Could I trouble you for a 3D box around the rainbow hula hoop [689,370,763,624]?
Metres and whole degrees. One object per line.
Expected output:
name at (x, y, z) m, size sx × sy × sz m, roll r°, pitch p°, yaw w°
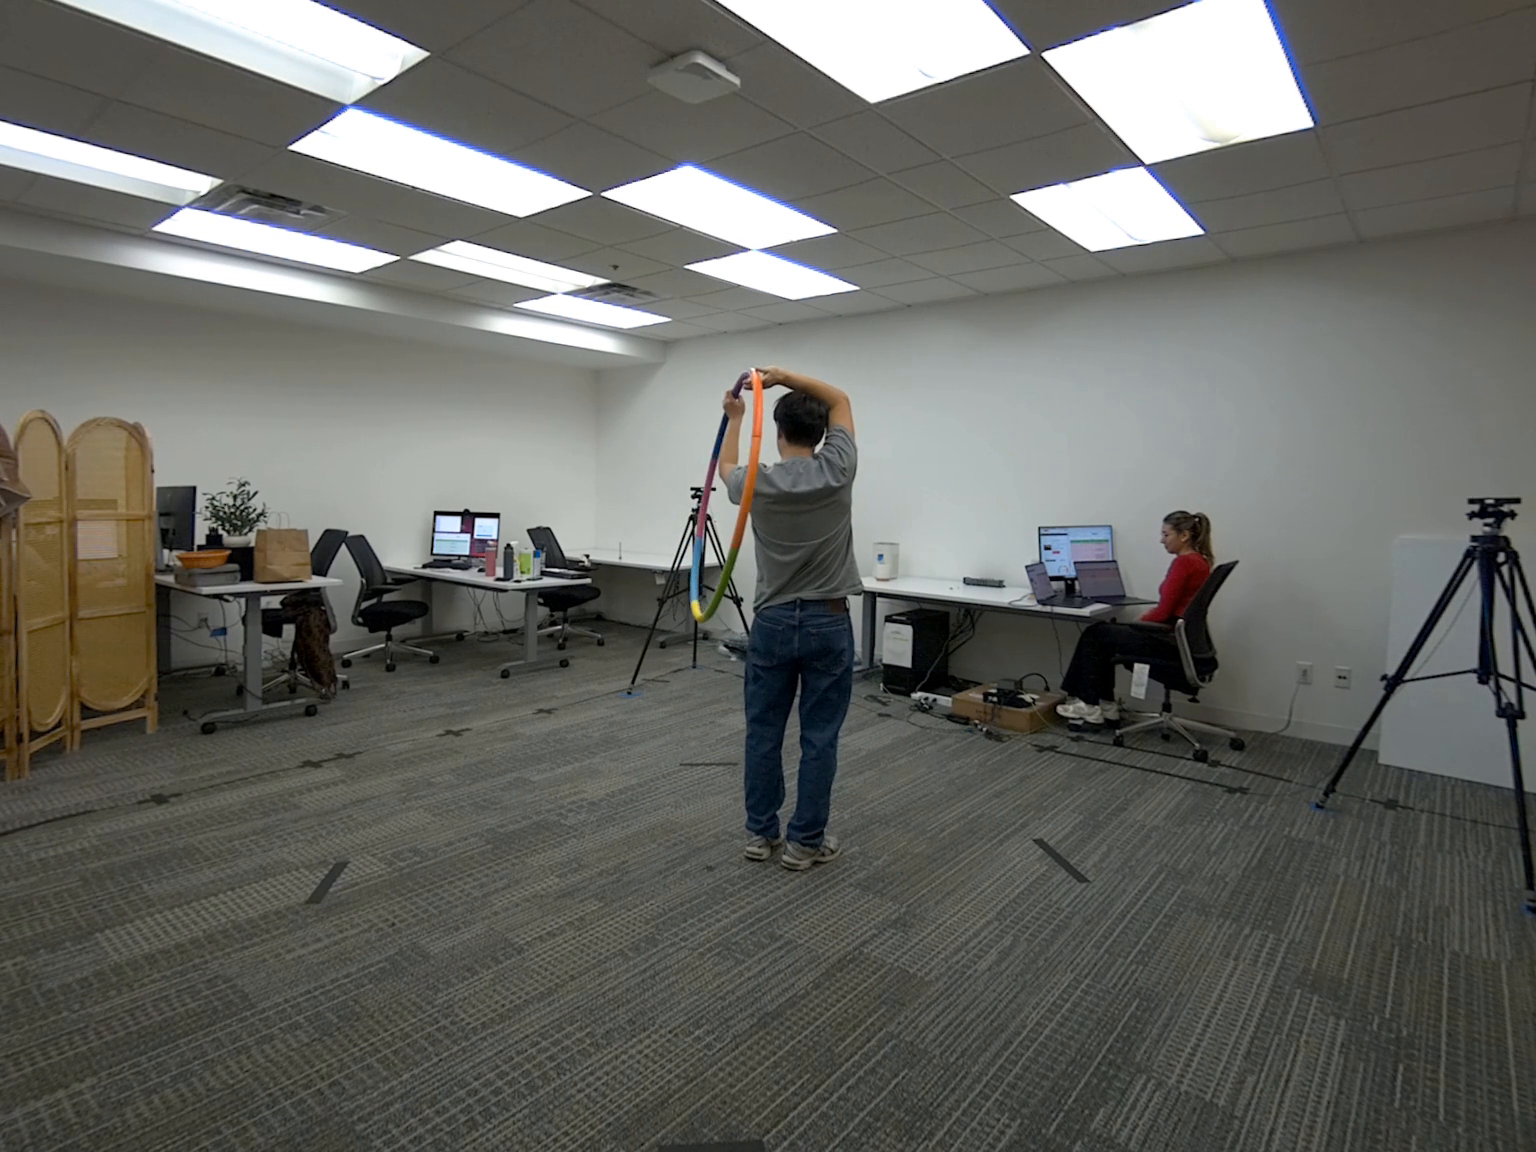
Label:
rainbow hula hoop at (-0.174, -0.315, 3.280) m, size 0.035 × 0.977 × 0.995 m, roll 9°, pitch 2°, yaw -15°
